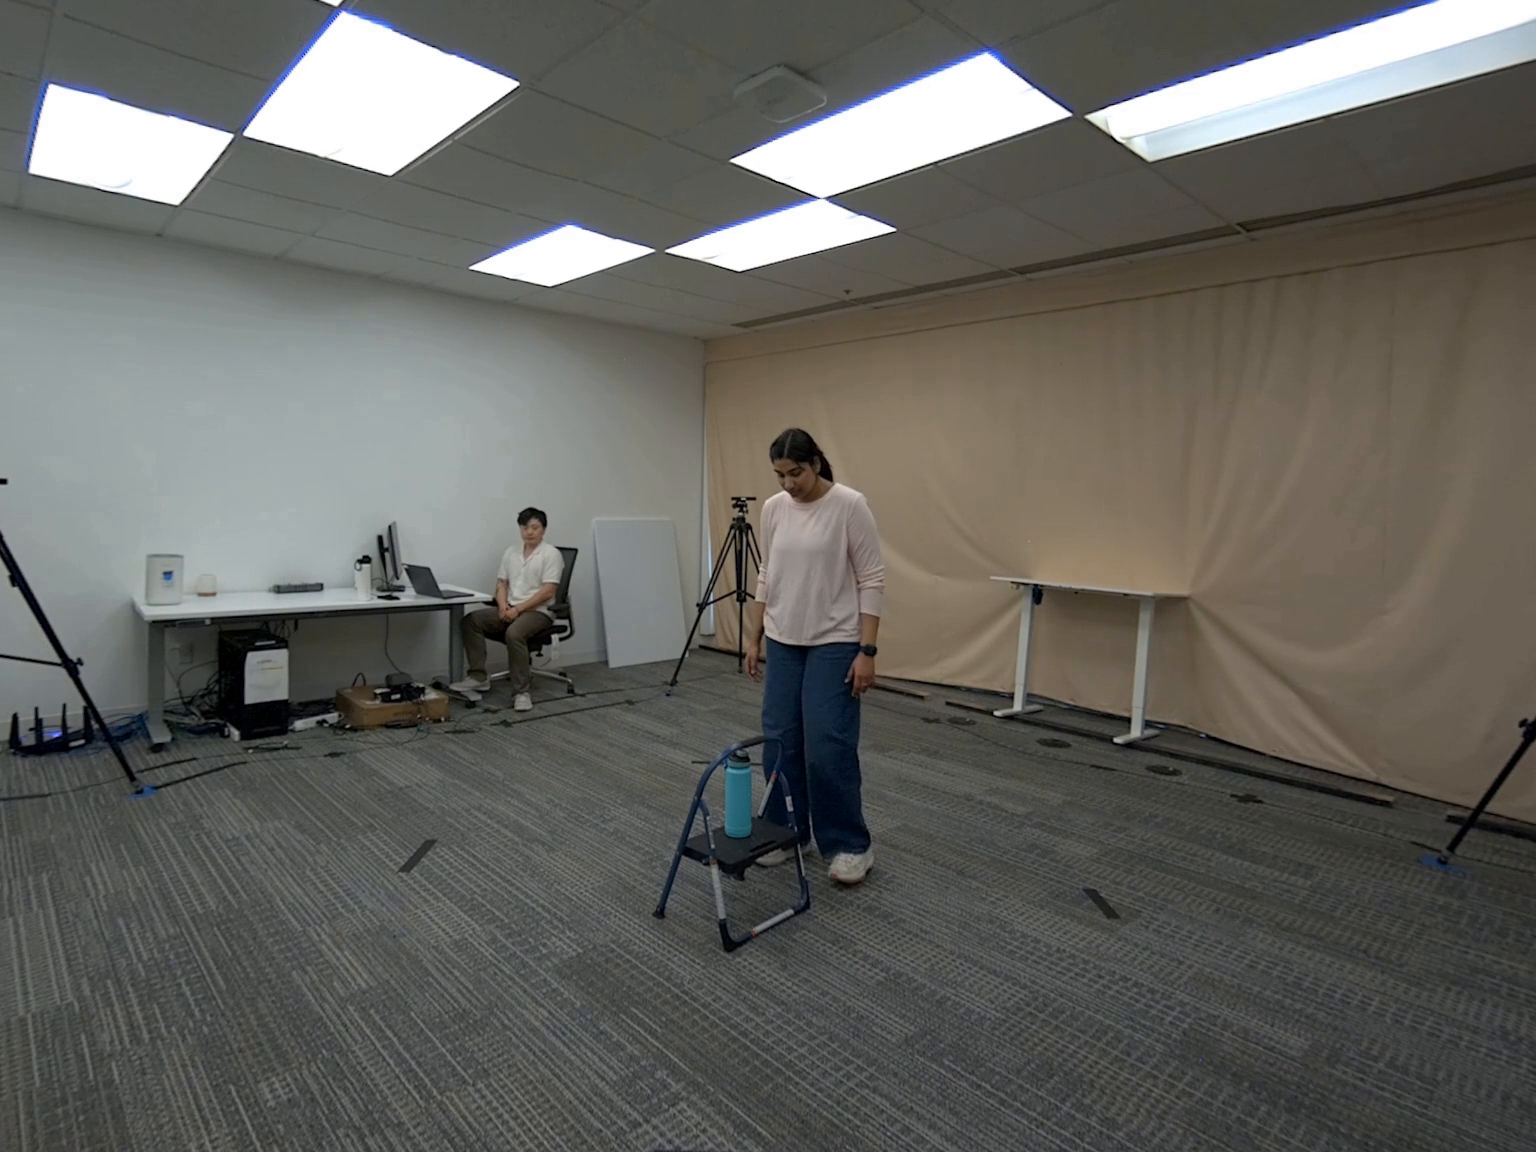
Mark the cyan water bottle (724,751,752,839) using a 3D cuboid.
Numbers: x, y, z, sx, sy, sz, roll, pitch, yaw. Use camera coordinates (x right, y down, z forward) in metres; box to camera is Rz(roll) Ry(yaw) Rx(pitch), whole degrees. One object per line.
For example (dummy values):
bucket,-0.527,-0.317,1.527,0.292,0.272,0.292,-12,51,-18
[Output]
cyan water bottle,-0.106,0.734,2.839,0.092,0.283,0.092,-2,1,-1
